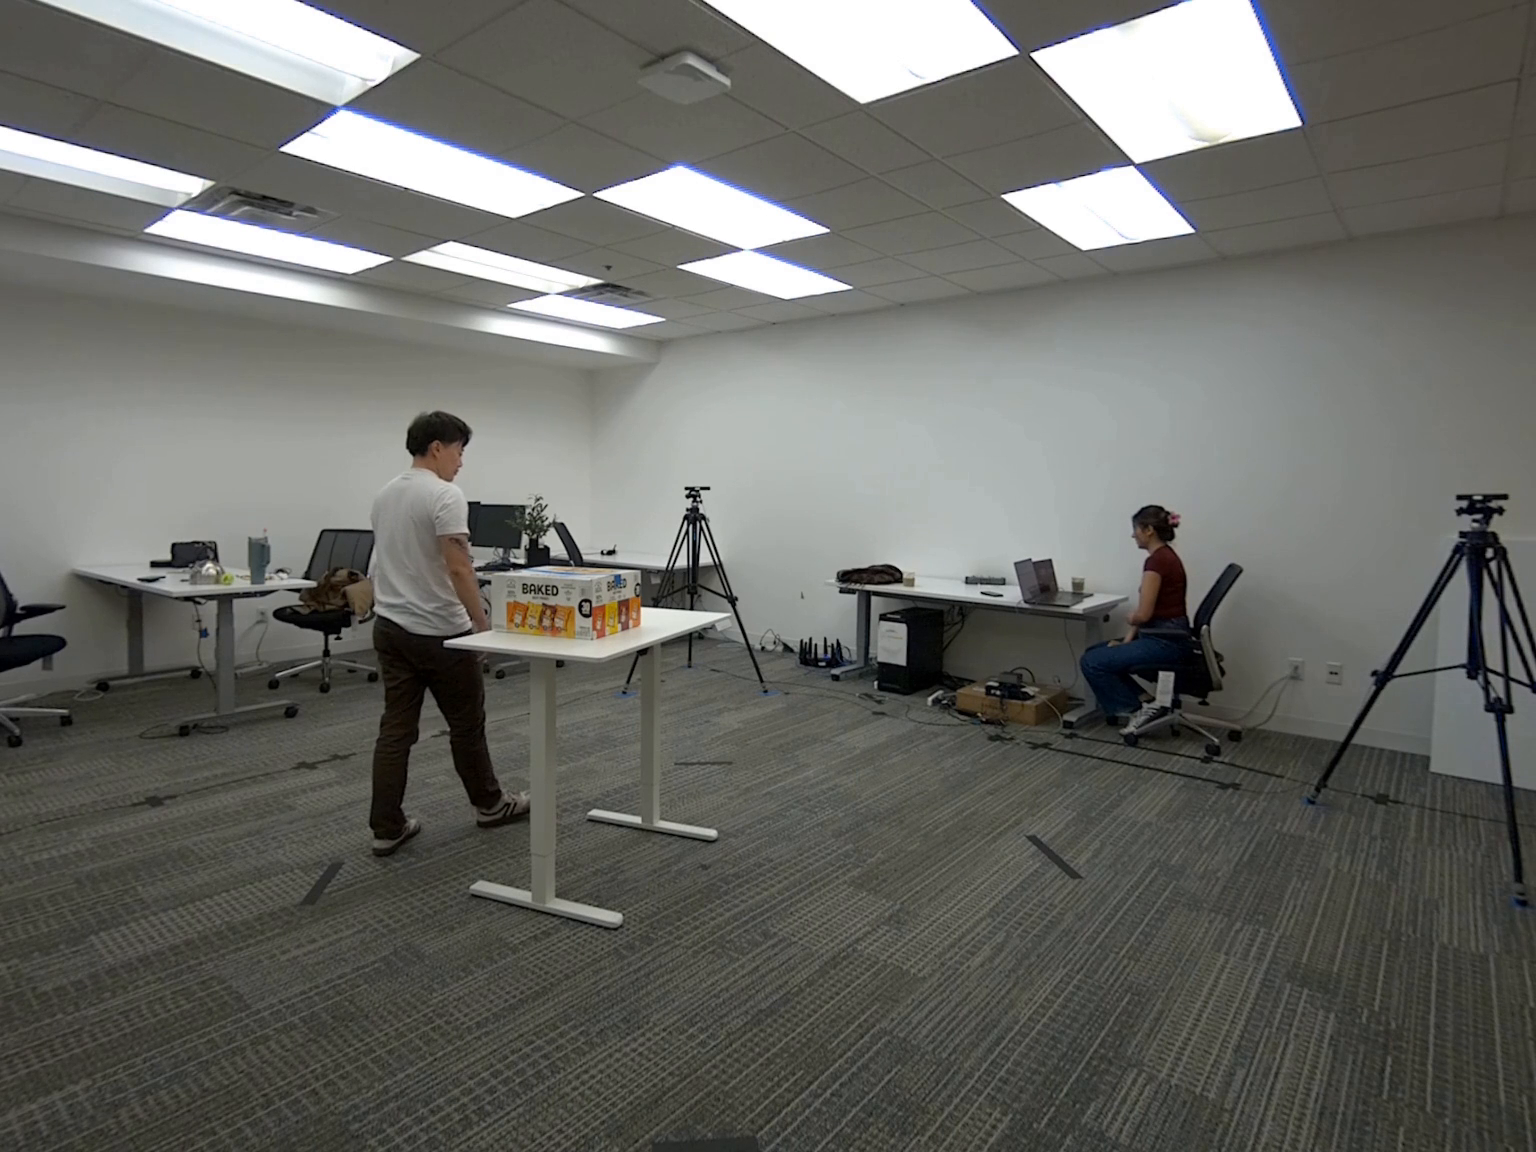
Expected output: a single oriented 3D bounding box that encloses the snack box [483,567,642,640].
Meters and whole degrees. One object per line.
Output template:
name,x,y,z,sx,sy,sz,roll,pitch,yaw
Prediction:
snack box,-0.723,0.087,3.027,0.414,0.205,0.334,2,5,21
